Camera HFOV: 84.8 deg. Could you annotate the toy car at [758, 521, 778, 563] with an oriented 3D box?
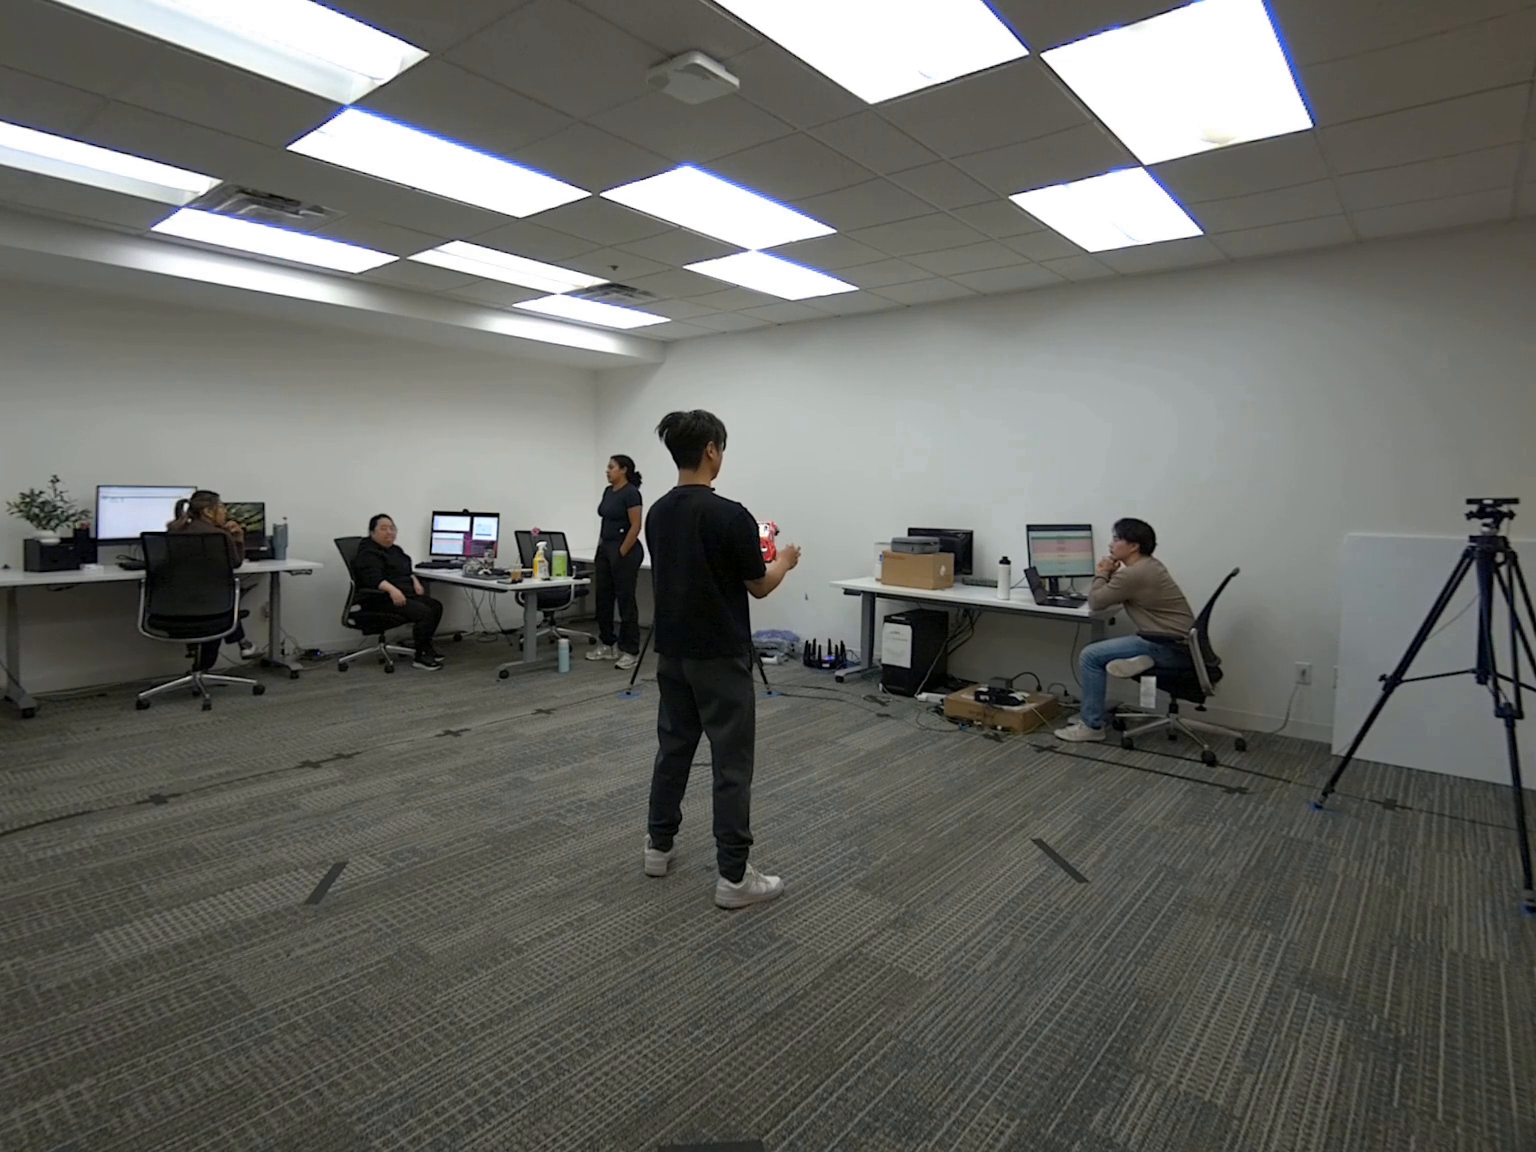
[{"bbox_3d":[-0.033,-0.125,3.306,0.131,0.081,0.260,-2,29,4],"label":"toy car"}]
